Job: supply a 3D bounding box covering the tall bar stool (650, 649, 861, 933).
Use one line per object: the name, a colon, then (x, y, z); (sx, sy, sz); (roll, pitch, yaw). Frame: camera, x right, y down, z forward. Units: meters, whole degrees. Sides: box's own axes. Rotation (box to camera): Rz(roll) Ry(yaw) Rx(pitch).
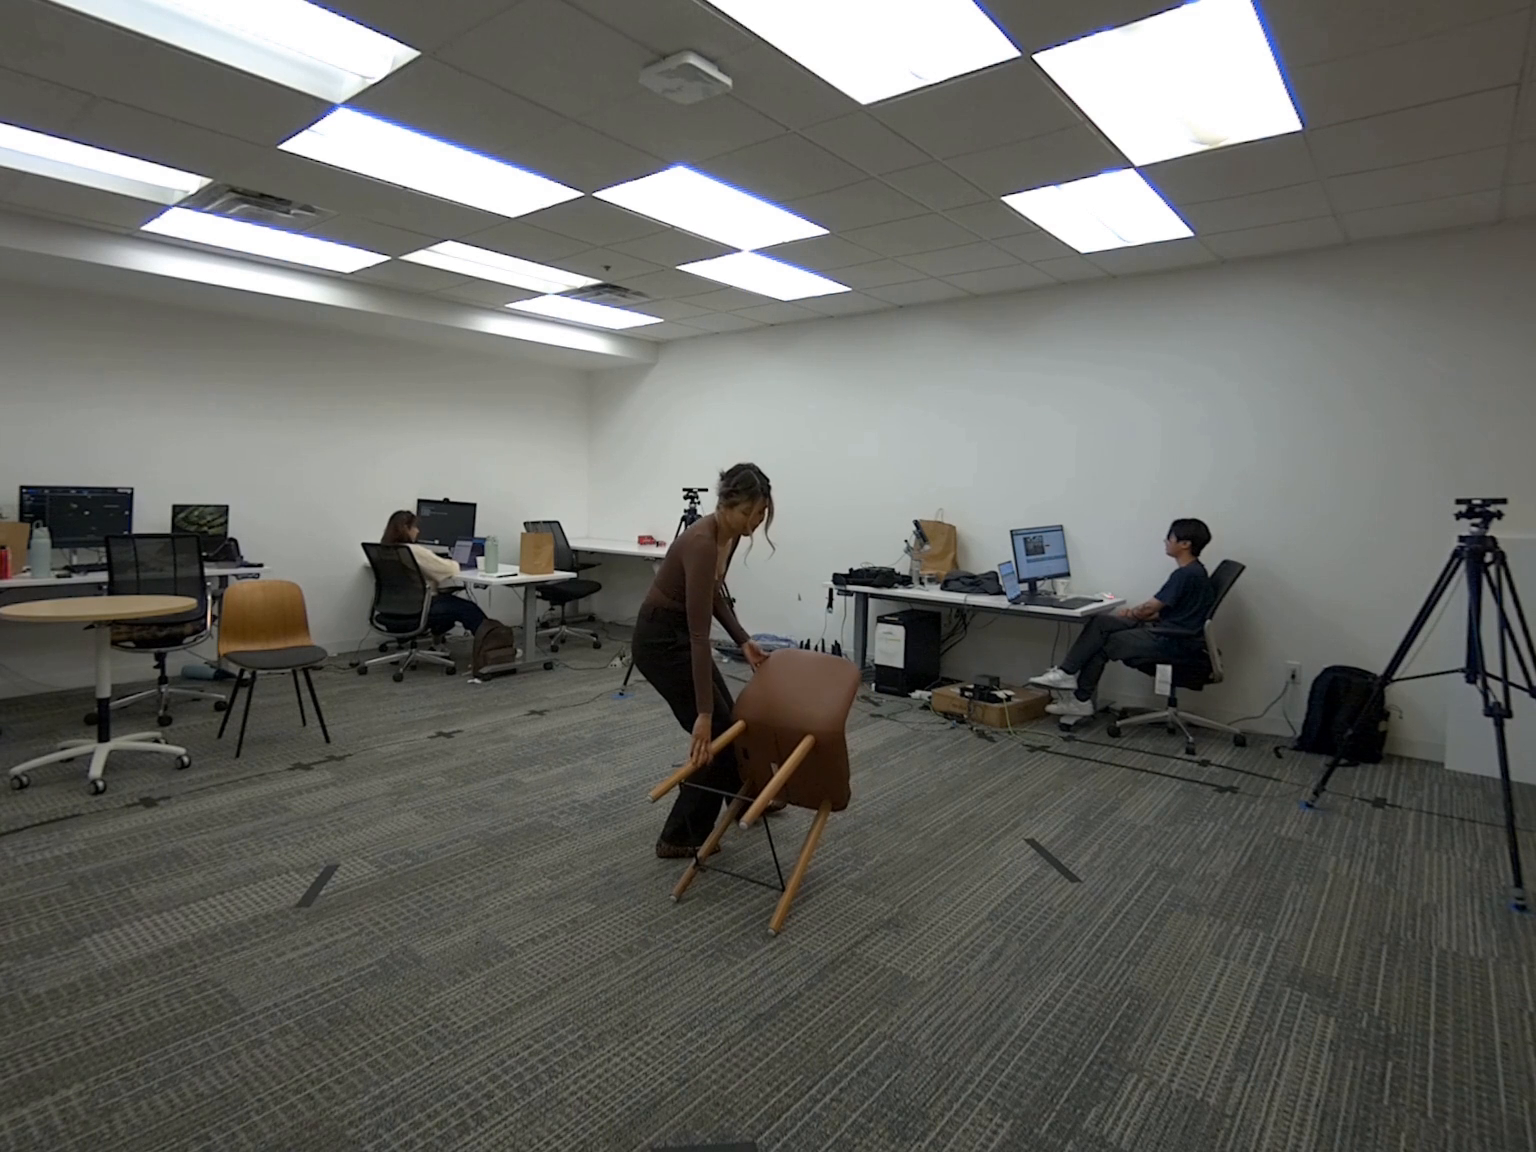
tall bar stool: (0.011, 0.700, 2.987); (0.470, 0.455, 0.888); (3, 30, 29)
